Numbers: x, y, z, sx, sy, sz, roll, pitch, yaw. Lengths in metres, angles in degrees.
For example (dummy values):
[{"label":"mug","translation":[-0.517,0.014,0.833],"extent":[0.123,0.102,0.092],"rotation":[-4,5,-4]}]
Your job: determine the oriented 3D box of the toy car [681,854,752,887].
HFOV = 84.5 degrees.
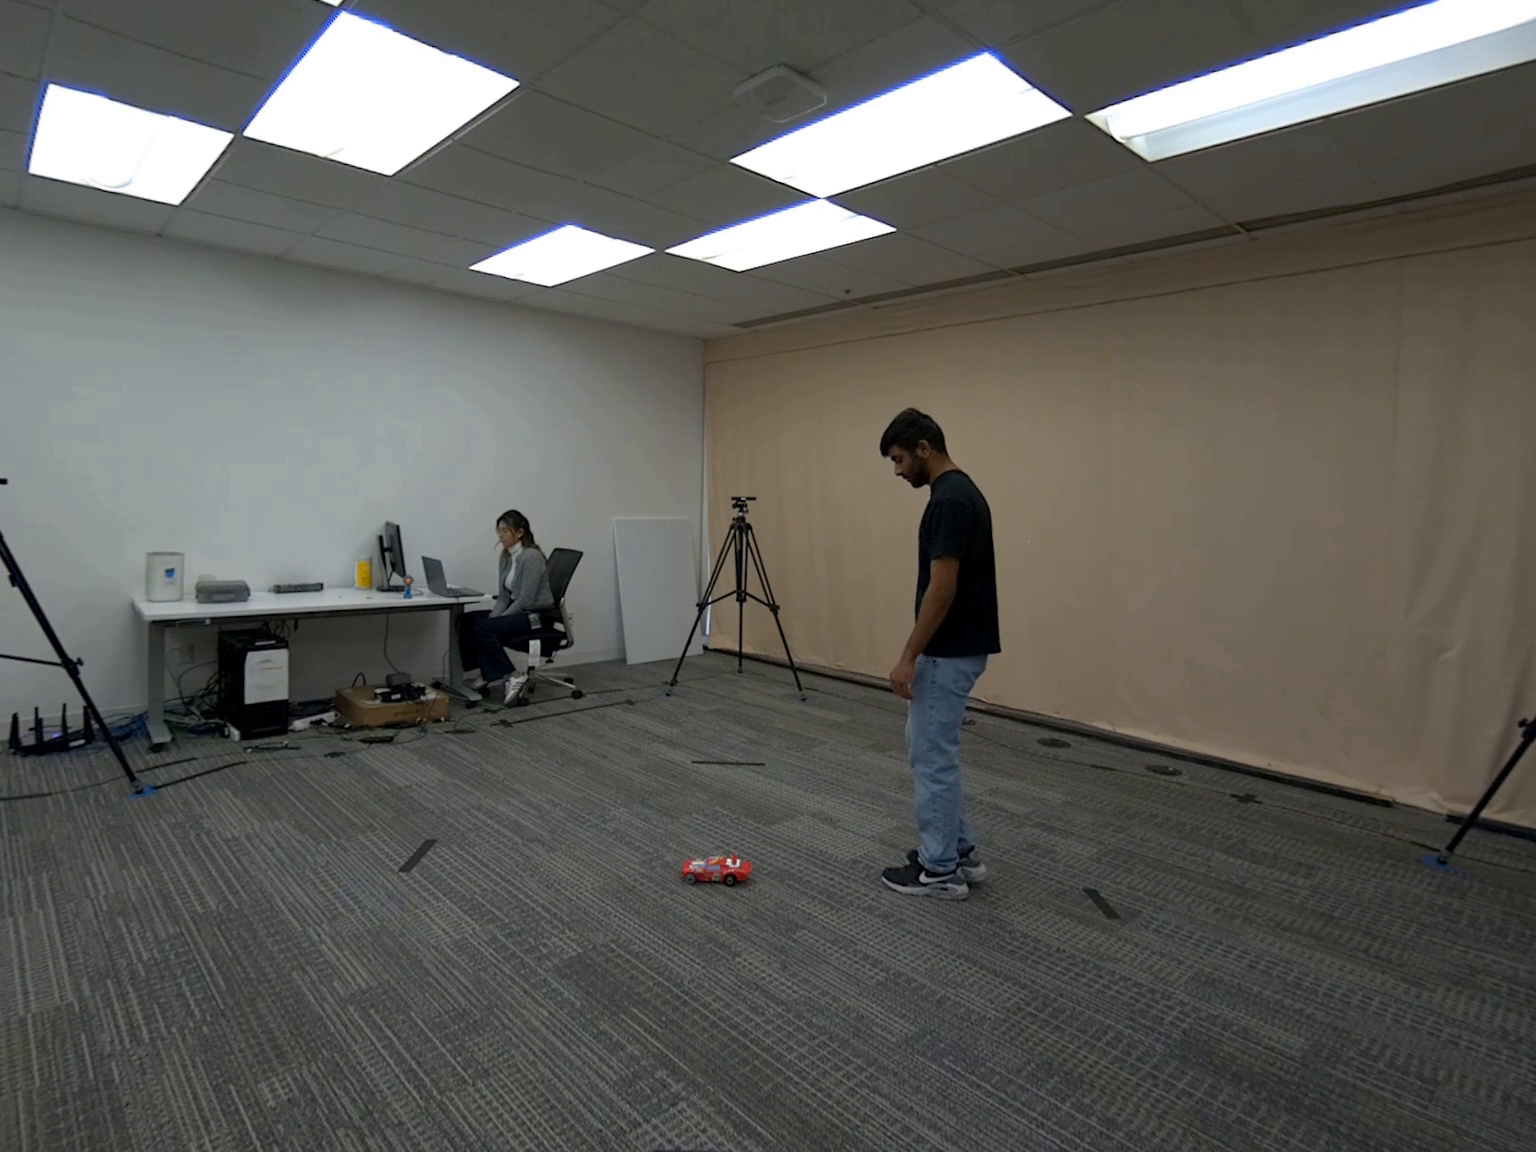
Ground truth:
[{"label":"toy car","translation":[-0.185,1.070,3.078],"extent":[0.255,0.083,0.130],"rotation":[-10,4,6]}]
